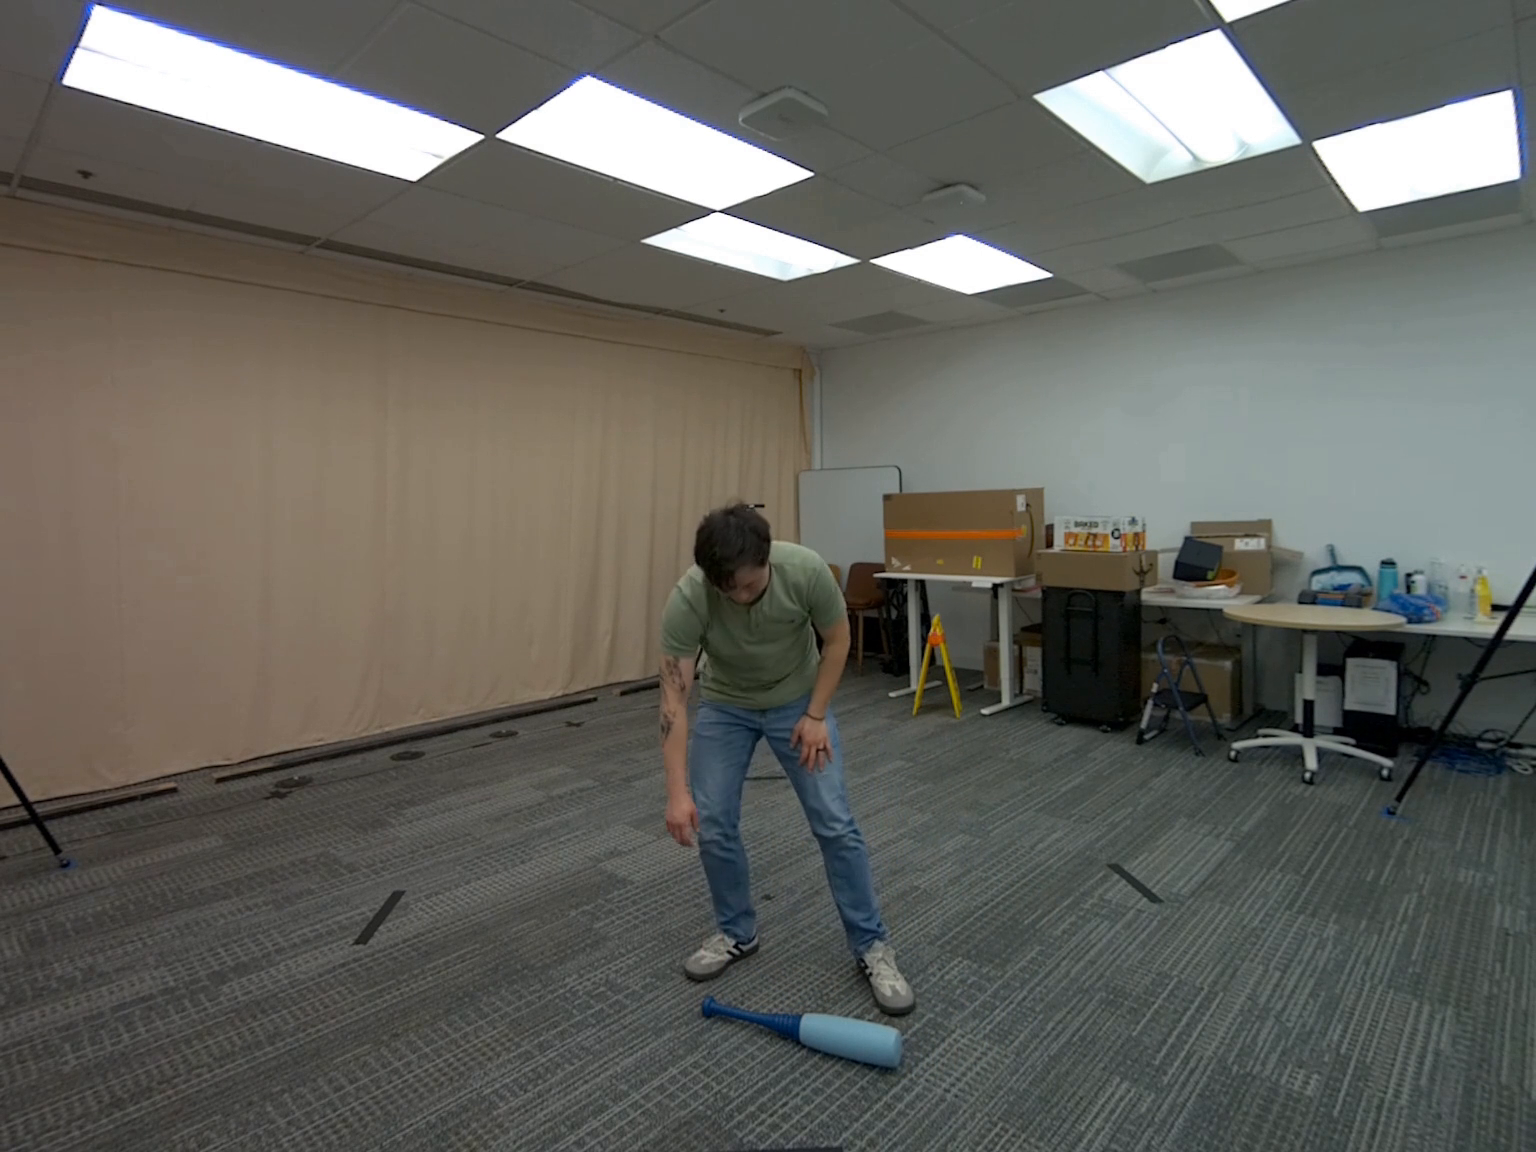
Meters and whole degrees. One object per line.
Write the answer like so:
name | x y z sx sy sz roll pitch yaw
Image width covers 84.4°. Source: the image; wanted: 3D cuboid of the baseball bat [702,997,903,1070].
baseball bat | 0.078 1.171 2.177 0.555 0.089 0.087 -2 3 23
